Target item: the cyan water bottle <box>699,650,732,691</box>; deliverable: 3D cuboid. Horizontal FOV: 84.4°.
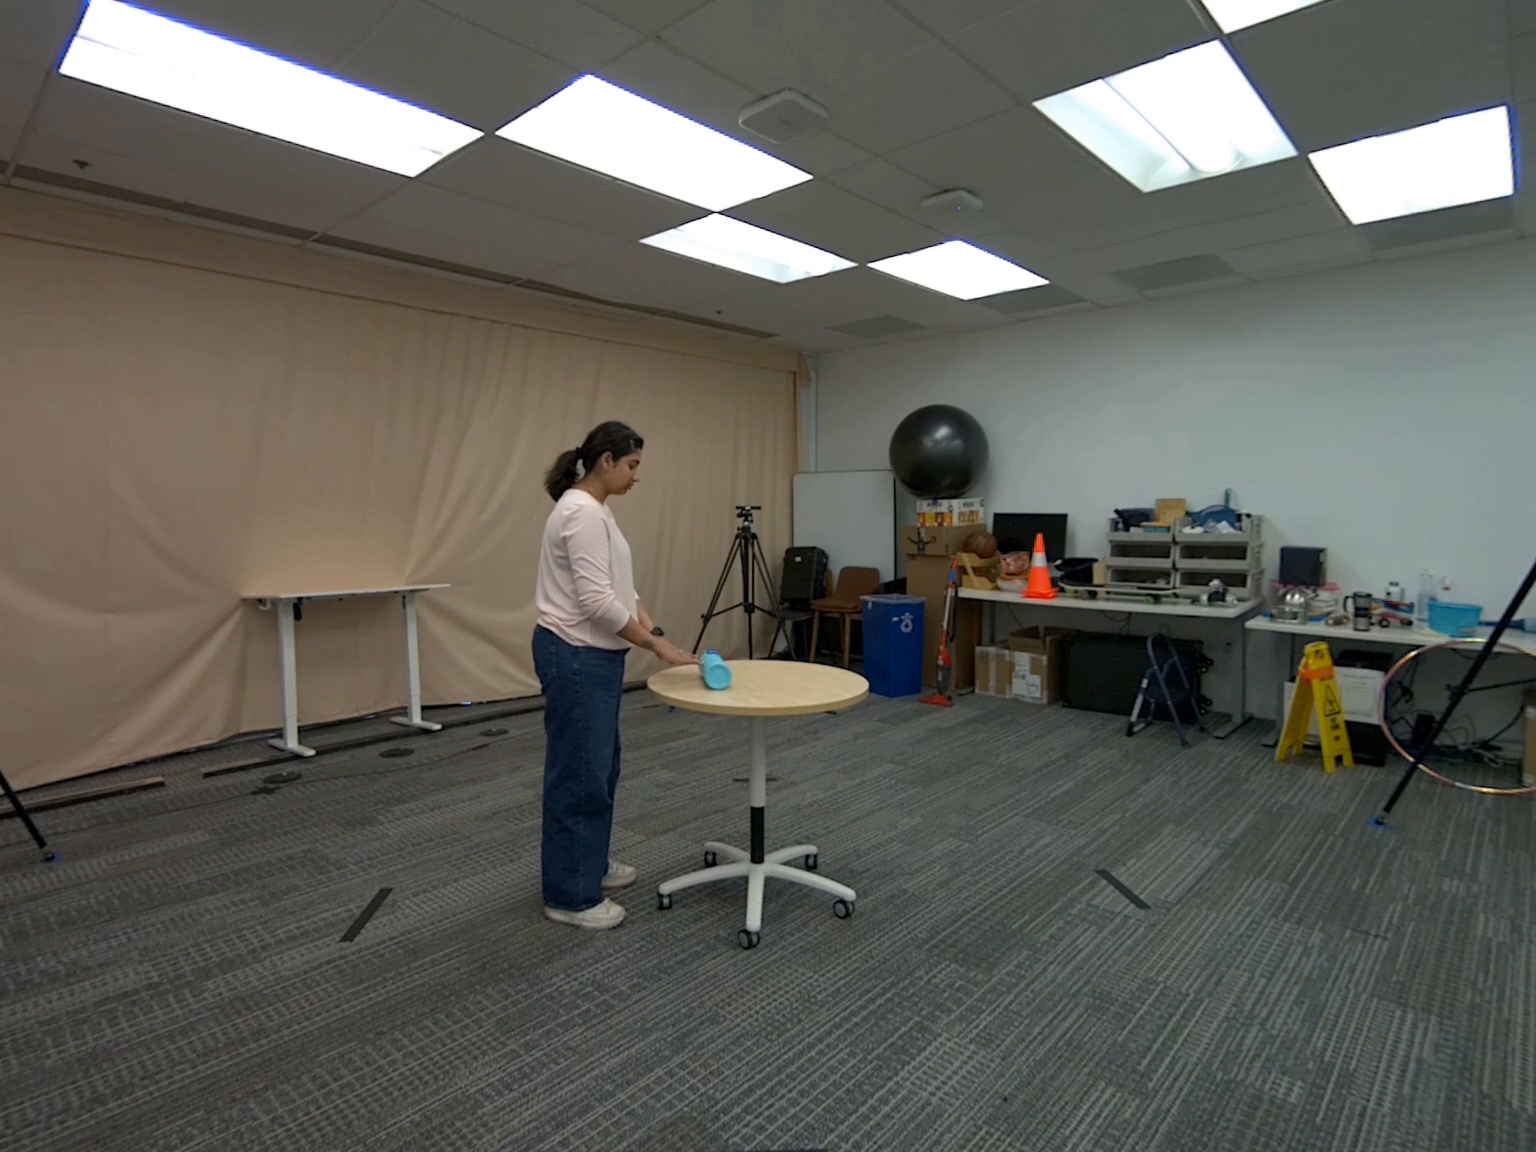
[{"bbox_3d":[-0.184,0.319,2.915,0.091,0.092,0.287,-1,6,-10],"label":"cyan water bottle"}]
